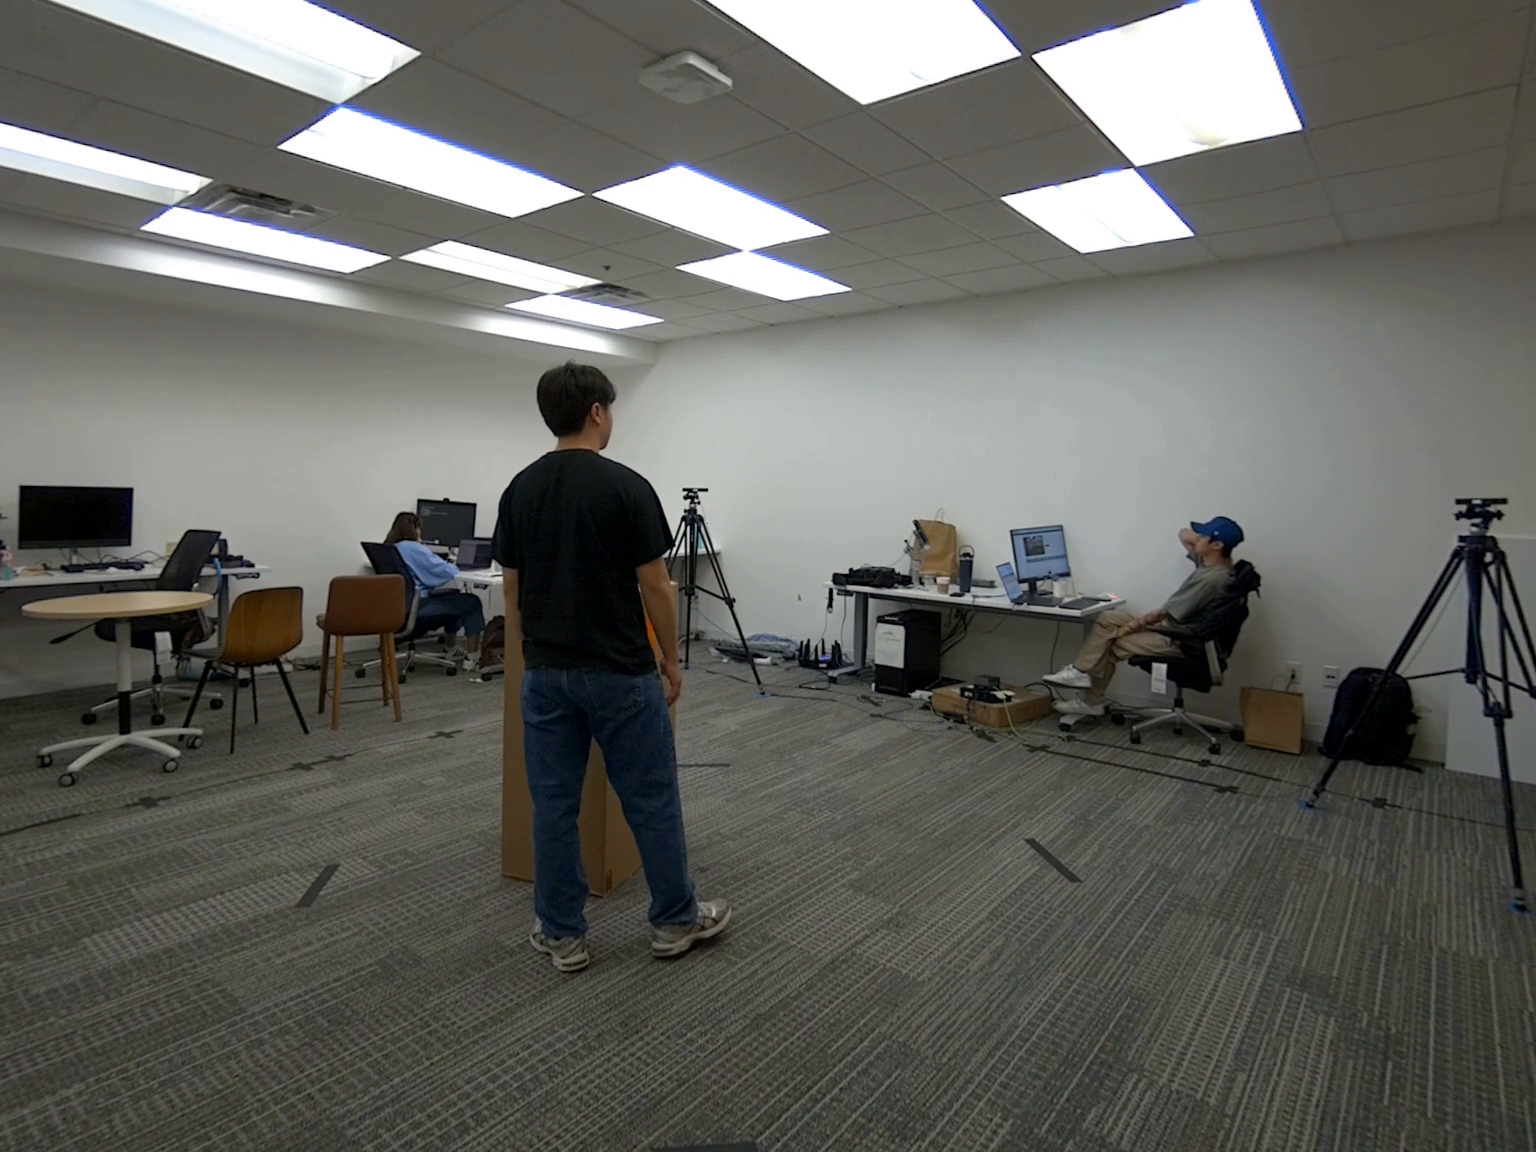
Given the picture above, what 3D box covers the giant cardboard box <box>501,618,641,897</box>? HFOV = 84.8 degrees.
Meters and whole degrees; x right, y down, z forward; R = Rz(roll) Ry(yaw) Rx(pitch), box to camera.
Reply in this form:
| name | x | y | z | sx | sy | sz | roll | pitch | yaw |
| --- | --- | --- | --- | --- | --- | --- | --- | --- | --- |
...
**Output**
| name | x | y | z | sx | sy | sz | roll | pitch | yaw |
| --- | --- | --- | --- | --- | --- | --- | --- | --- | --- |
| giant cardboard box | -0.656 | 0.540 | 3.191 | 0.457 | 1.024 | 0.573 | 3 | 3 | 20 |
